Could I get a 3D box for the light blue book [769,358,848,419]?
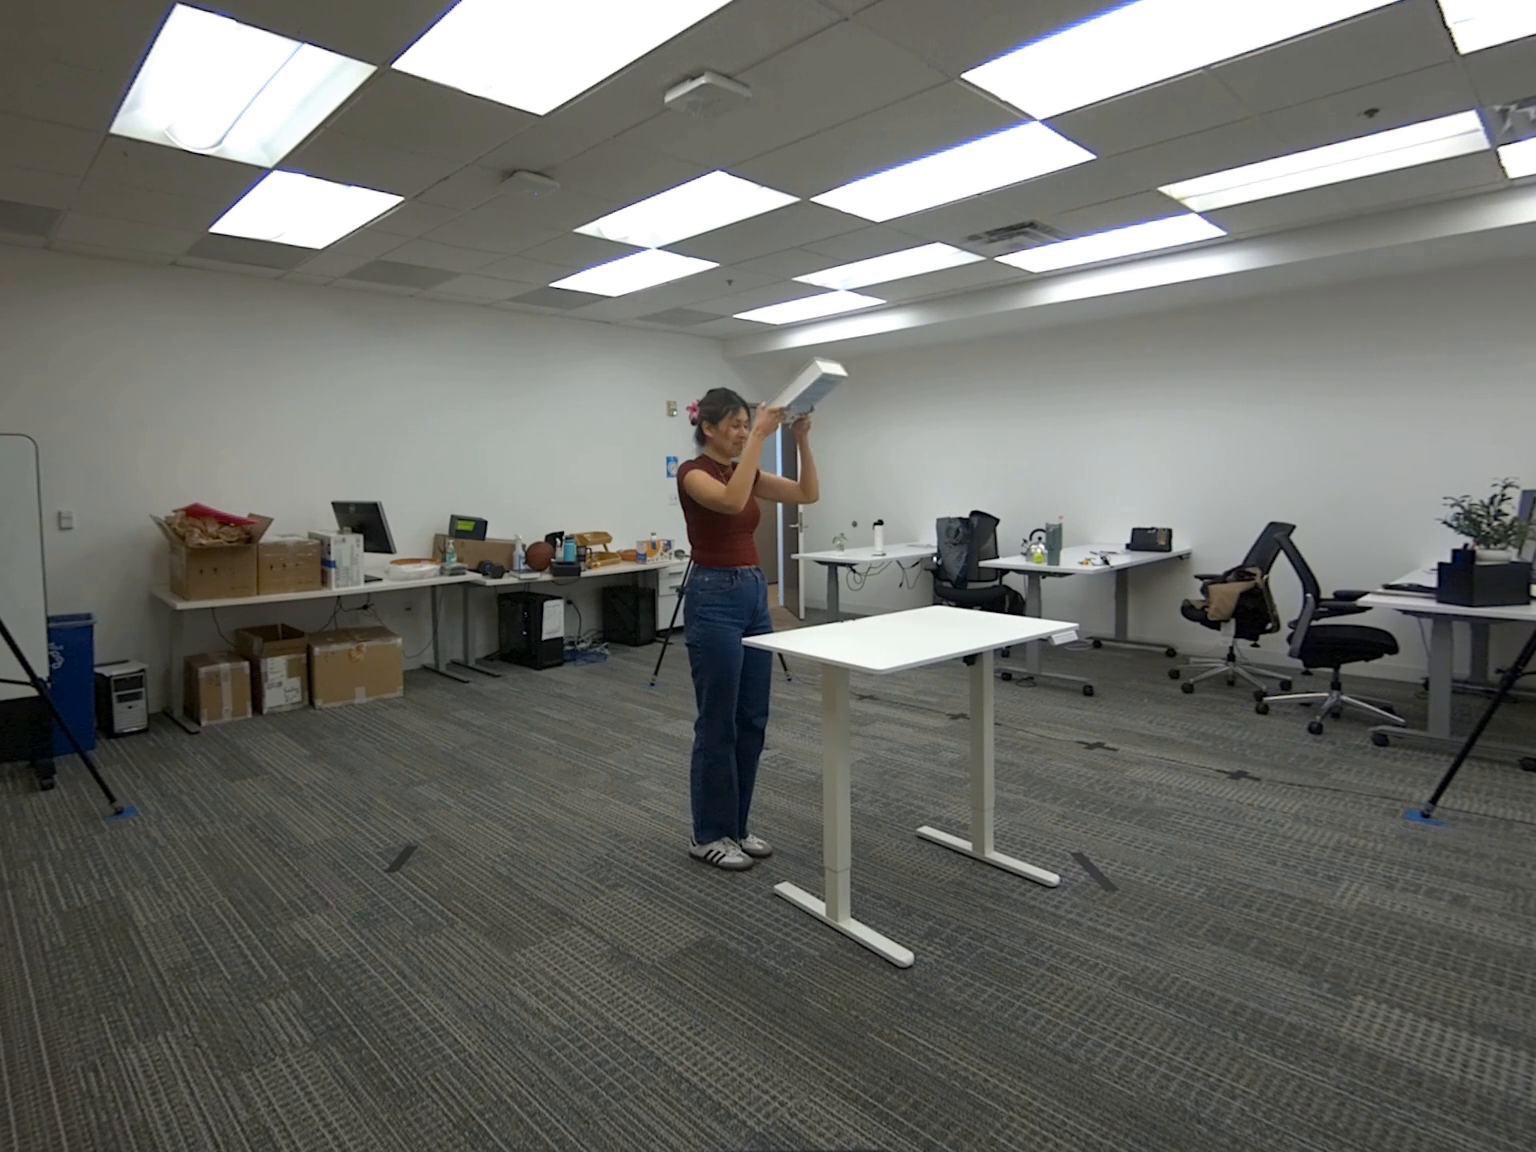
[{"bbox_3d":[0.127,-0.620,2.913,0.262,0.060,0.187,-38,-13,29],"label":"light blue book"}]
